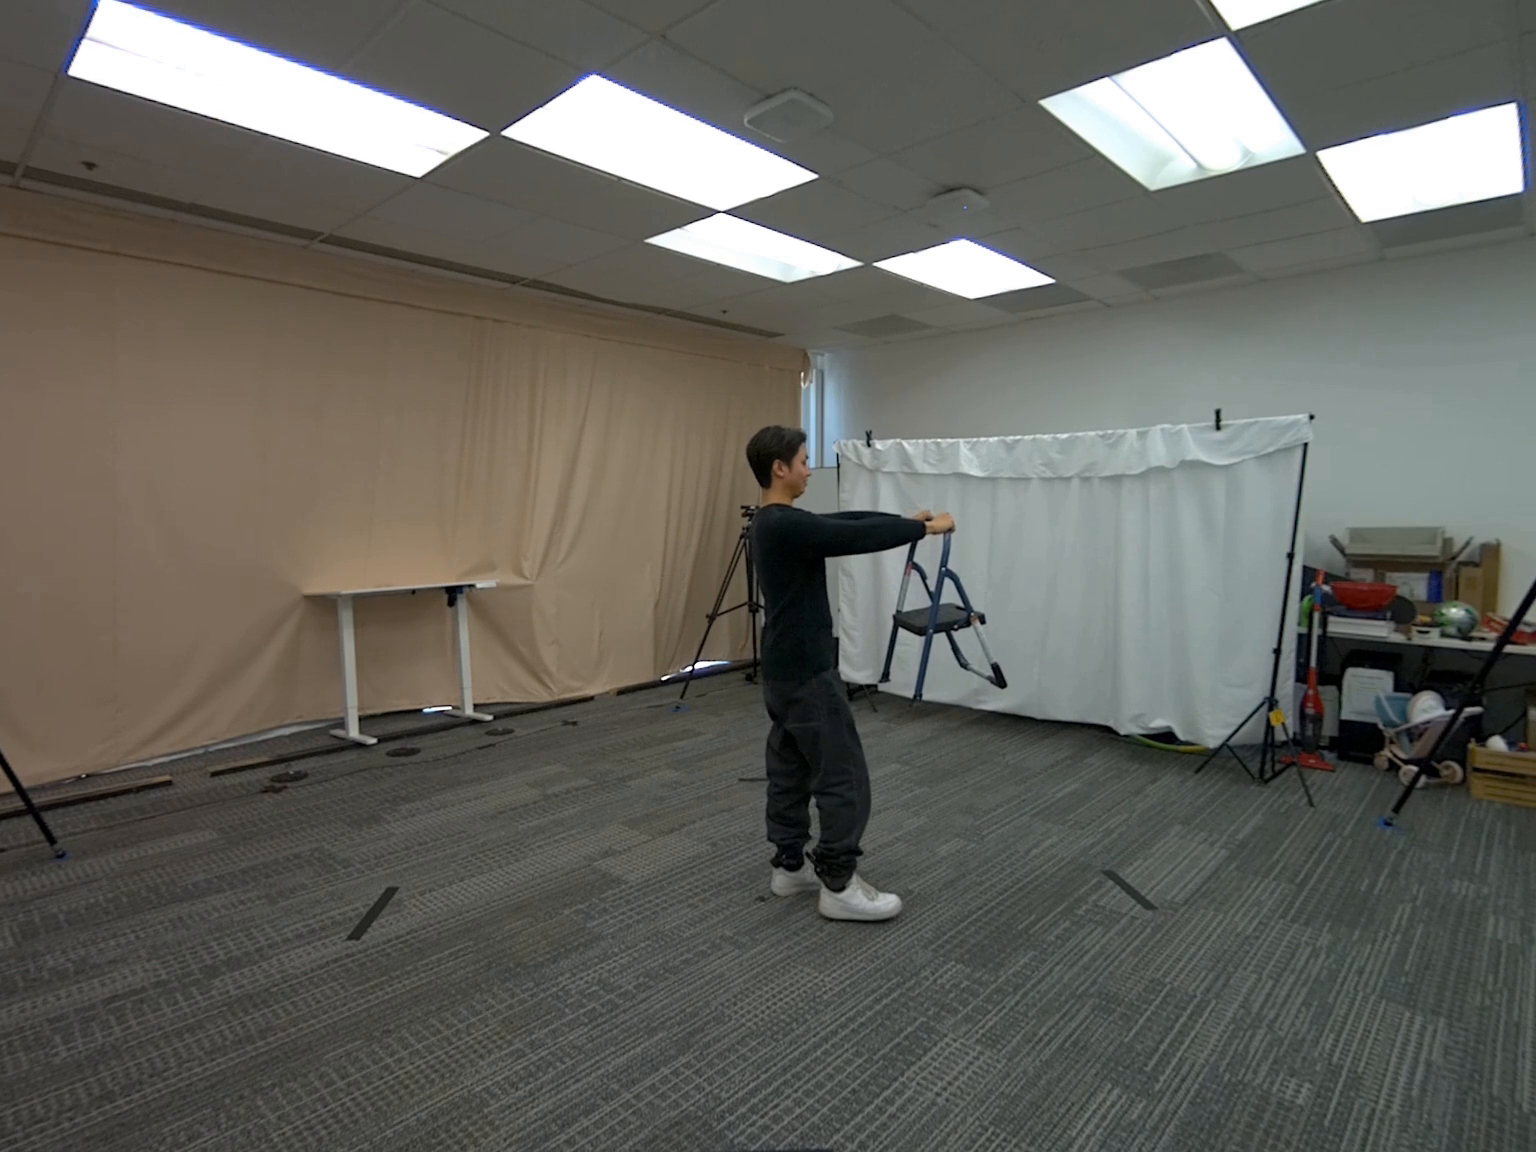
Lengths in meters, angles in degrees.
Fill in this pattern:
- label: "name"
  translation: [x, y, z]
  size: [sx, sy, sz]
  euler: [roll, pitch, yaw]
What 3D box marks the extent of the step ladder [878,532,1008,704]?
- label: "step ladder"
  translation: [0.589, 0.114, 3.041]
  size: [0.347, 0.603, 0.435]
  euler: [-9, 7, -7]
